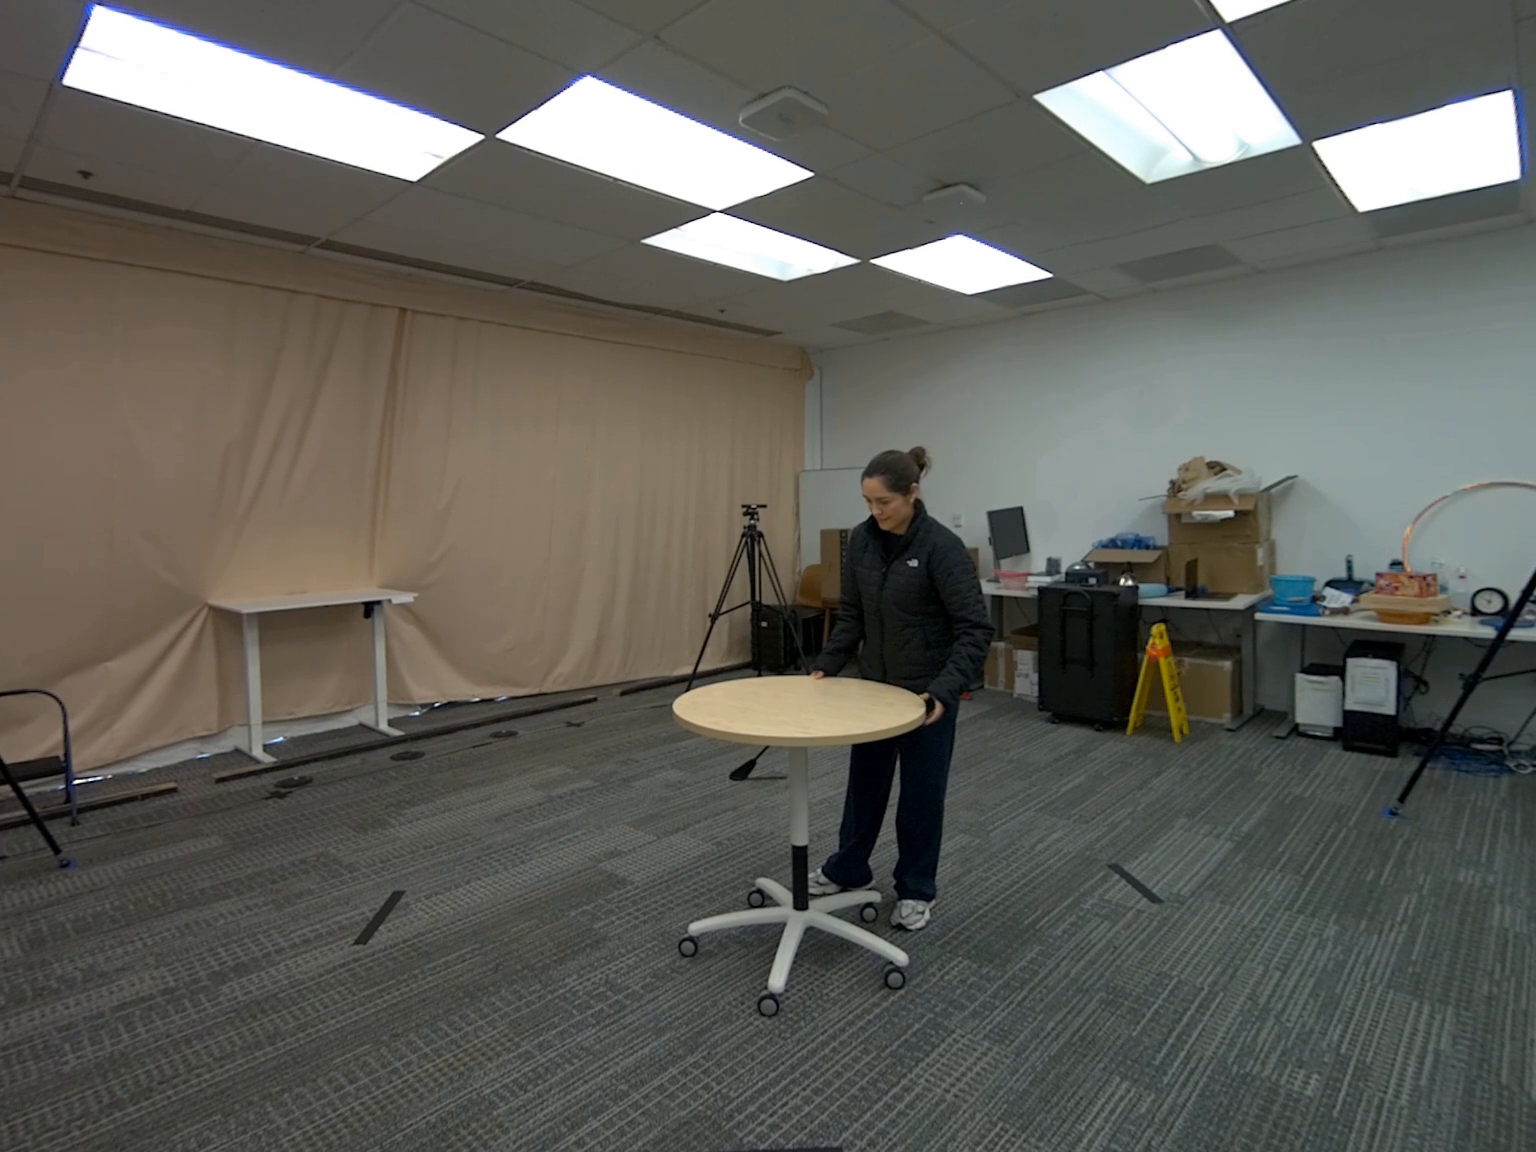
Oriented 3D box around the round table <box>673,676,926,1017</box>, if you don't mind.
[{"bbox_3d":[0.119,0.778,2.601,0.784,0.784,0.788,-1,4,-2],"label":"round table"}]
